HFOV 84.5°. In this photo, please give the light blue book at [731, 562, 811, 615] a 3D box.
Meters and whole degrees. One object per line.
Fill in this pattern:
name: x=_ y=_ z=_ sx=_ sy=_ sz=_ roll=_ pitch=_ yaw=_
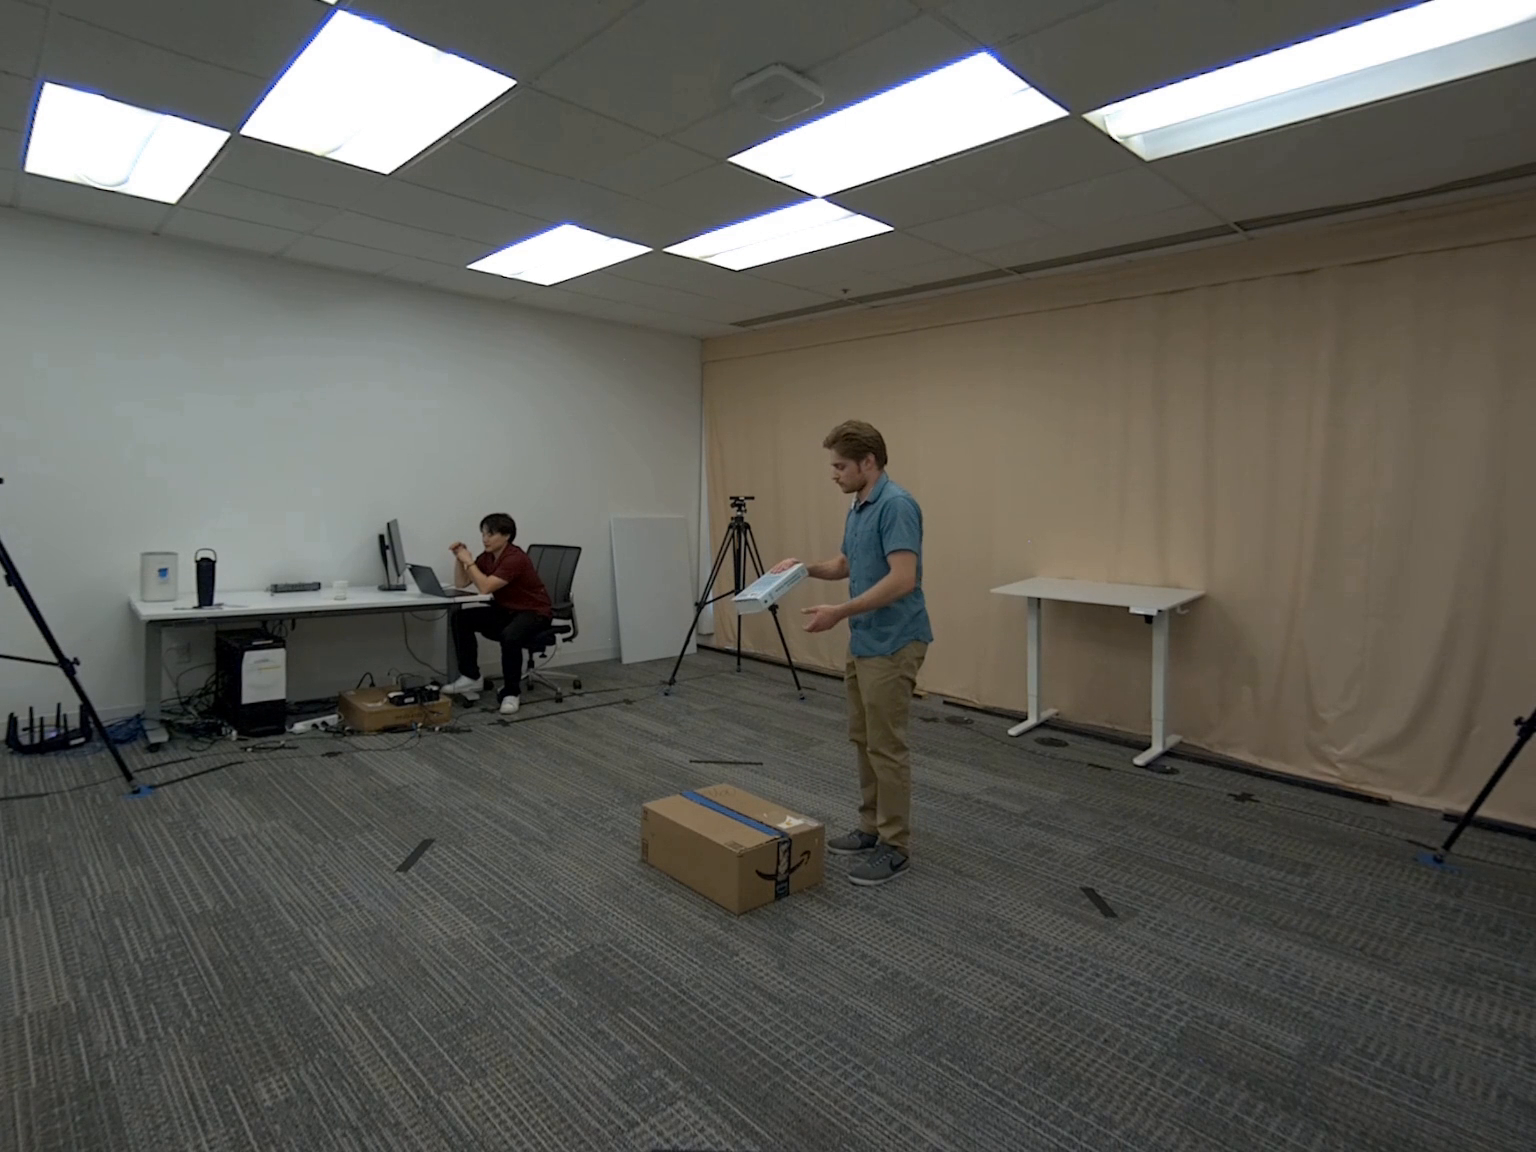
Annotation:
light blue book: x=0.011 y=0.048 z=3.293 sx=0.260 sy=0.058 sz=0.194 roll=-37 pitch=14 yaw=-28
